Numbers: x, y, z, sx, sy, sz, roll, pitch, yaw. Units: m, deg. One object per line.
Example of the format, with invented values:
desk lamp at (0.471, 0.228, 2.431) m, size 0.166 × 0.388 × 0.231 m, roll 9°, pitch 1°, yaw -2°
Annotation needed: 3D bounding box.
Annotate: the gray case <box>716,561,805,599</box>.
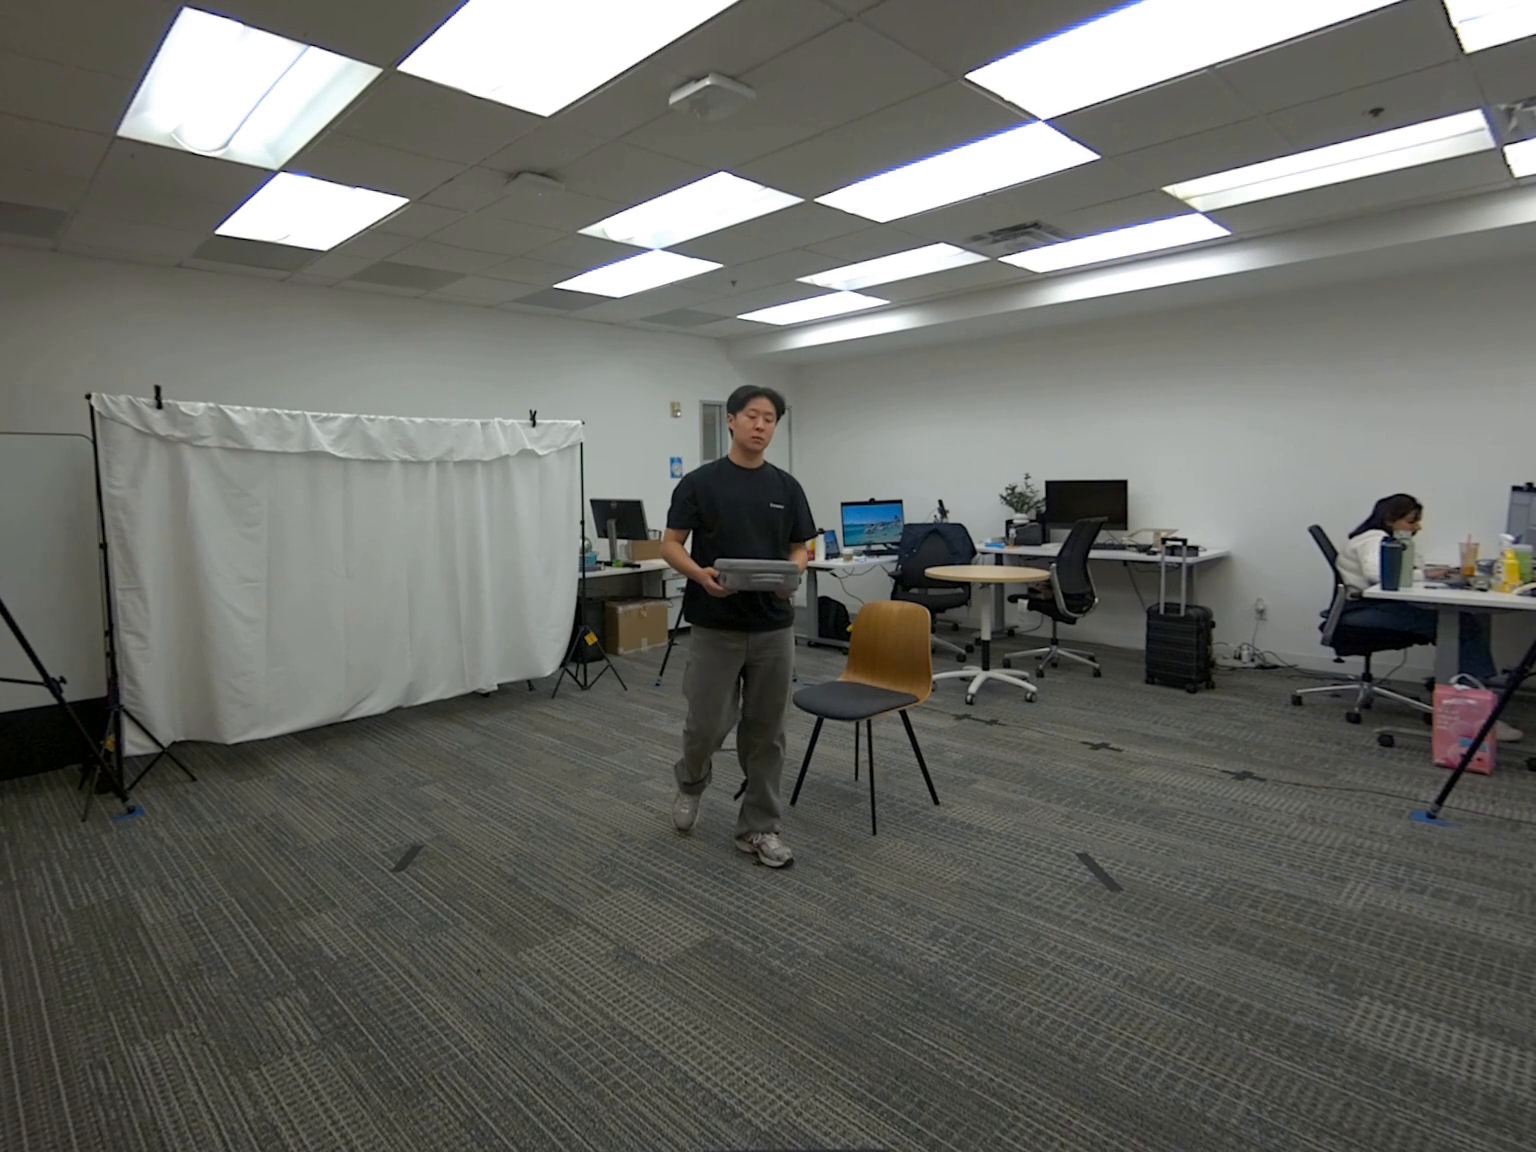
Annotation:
gray case at (-0.053, 0.007, 2.910) m, size 0.259 × 0.103 × 0.292 m, roll 2°, pitch 2°, yaw -16°
